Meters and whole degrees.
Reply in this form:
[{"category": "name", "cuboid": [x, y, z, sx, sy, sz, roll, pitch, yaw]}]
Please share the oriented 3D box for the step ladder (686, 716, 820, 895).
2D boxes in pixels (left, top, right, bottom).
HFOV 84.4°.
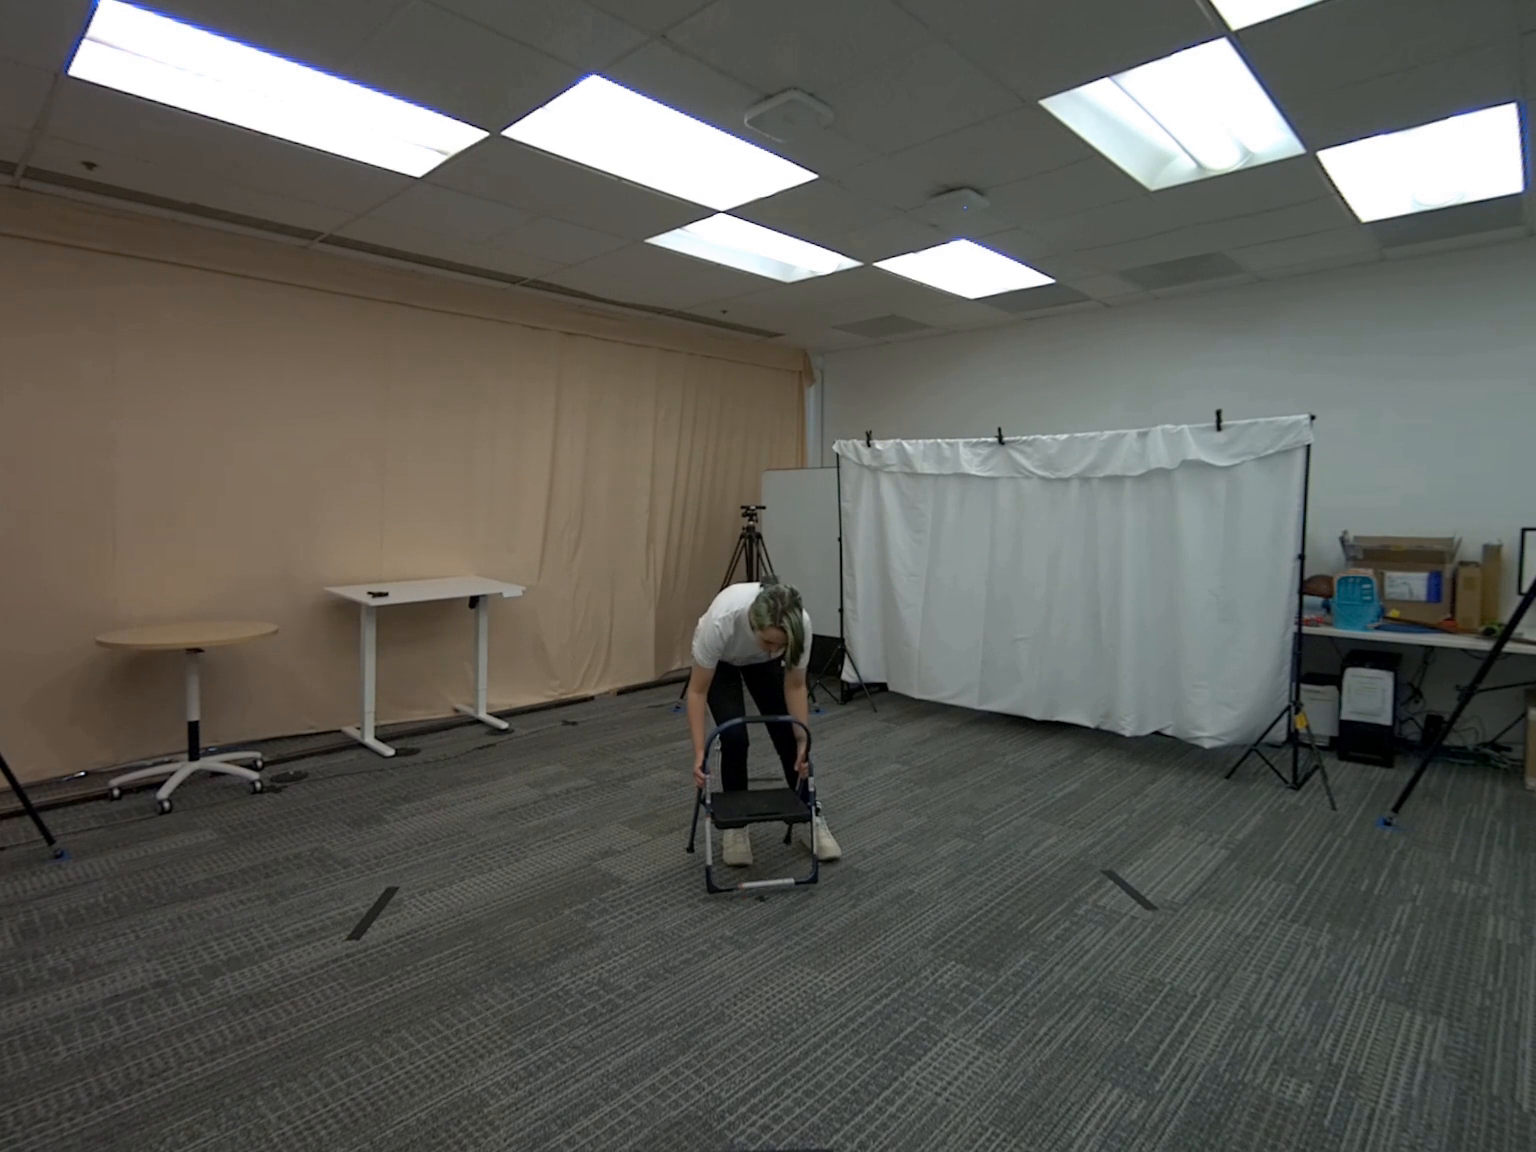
[{"category": "step ladder", "cuboid": [-0.056, 0.783, 3.112, 0.424, 0.603, 0.356, 0, 8, -16]}]
